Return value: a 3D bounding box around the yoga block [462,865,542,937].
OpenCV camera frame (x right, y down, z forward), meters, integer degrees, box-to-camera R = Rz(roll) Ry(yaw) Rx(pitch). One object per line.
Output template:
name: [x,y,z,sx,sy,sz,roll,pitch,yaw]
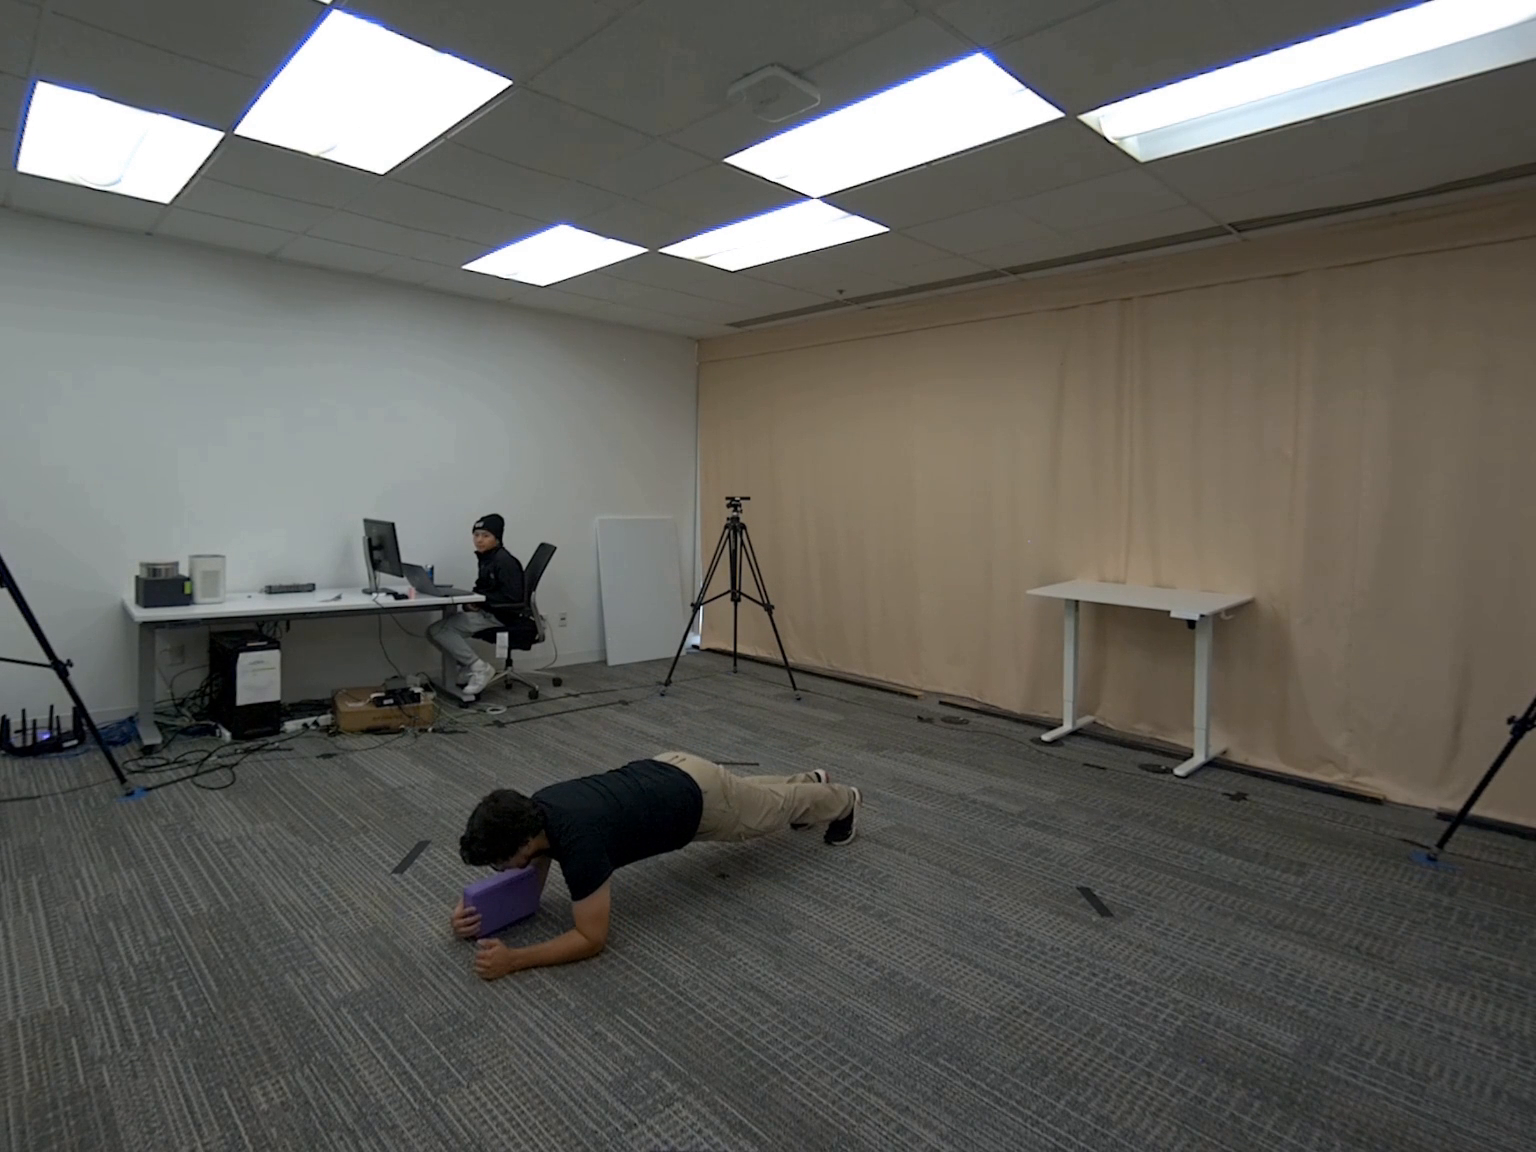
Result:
yoga block: [-0.864,1.038,2.690,0.225,0.148,0.078,-10,10,-41]
